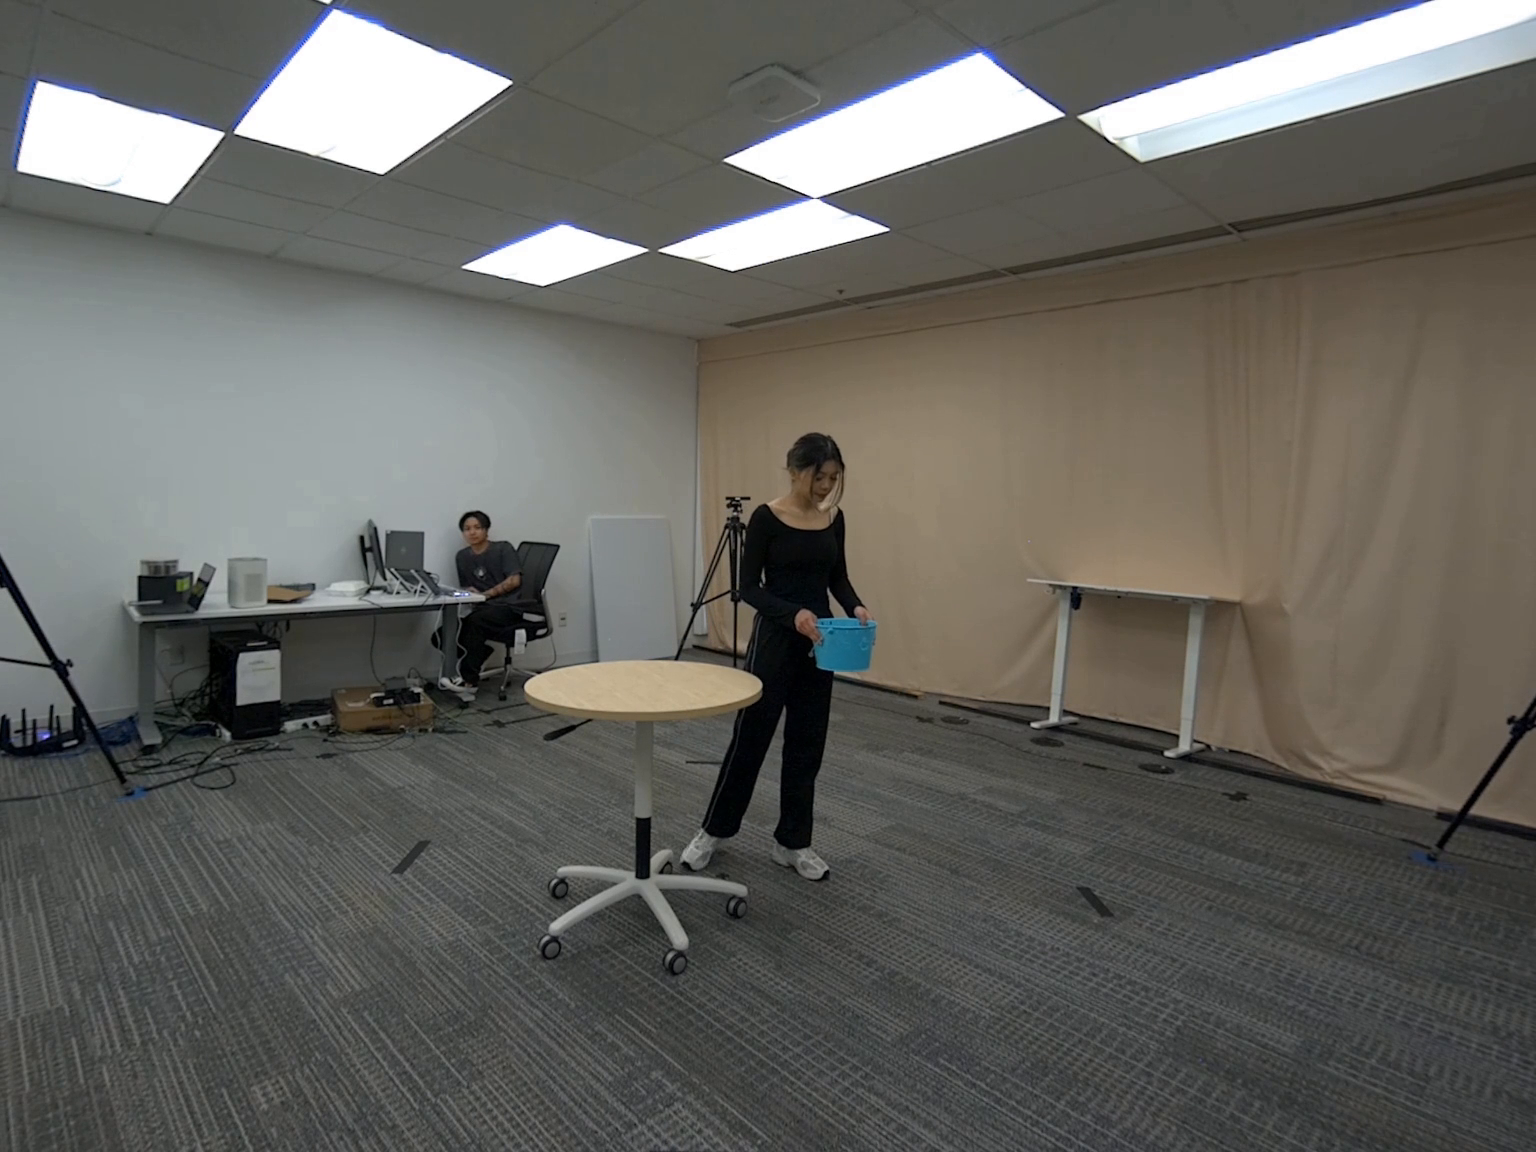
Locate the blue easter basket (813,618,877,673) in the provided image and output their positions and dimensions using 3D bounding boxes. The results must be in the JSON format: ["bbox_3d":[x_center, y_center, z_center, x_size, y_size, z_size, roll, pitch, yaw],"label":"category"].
[{"bbox_3d":[0.245,0.242,2.892,0.243,0.155,0.244,1,3,-1],"label":"blue easter basket"}]
